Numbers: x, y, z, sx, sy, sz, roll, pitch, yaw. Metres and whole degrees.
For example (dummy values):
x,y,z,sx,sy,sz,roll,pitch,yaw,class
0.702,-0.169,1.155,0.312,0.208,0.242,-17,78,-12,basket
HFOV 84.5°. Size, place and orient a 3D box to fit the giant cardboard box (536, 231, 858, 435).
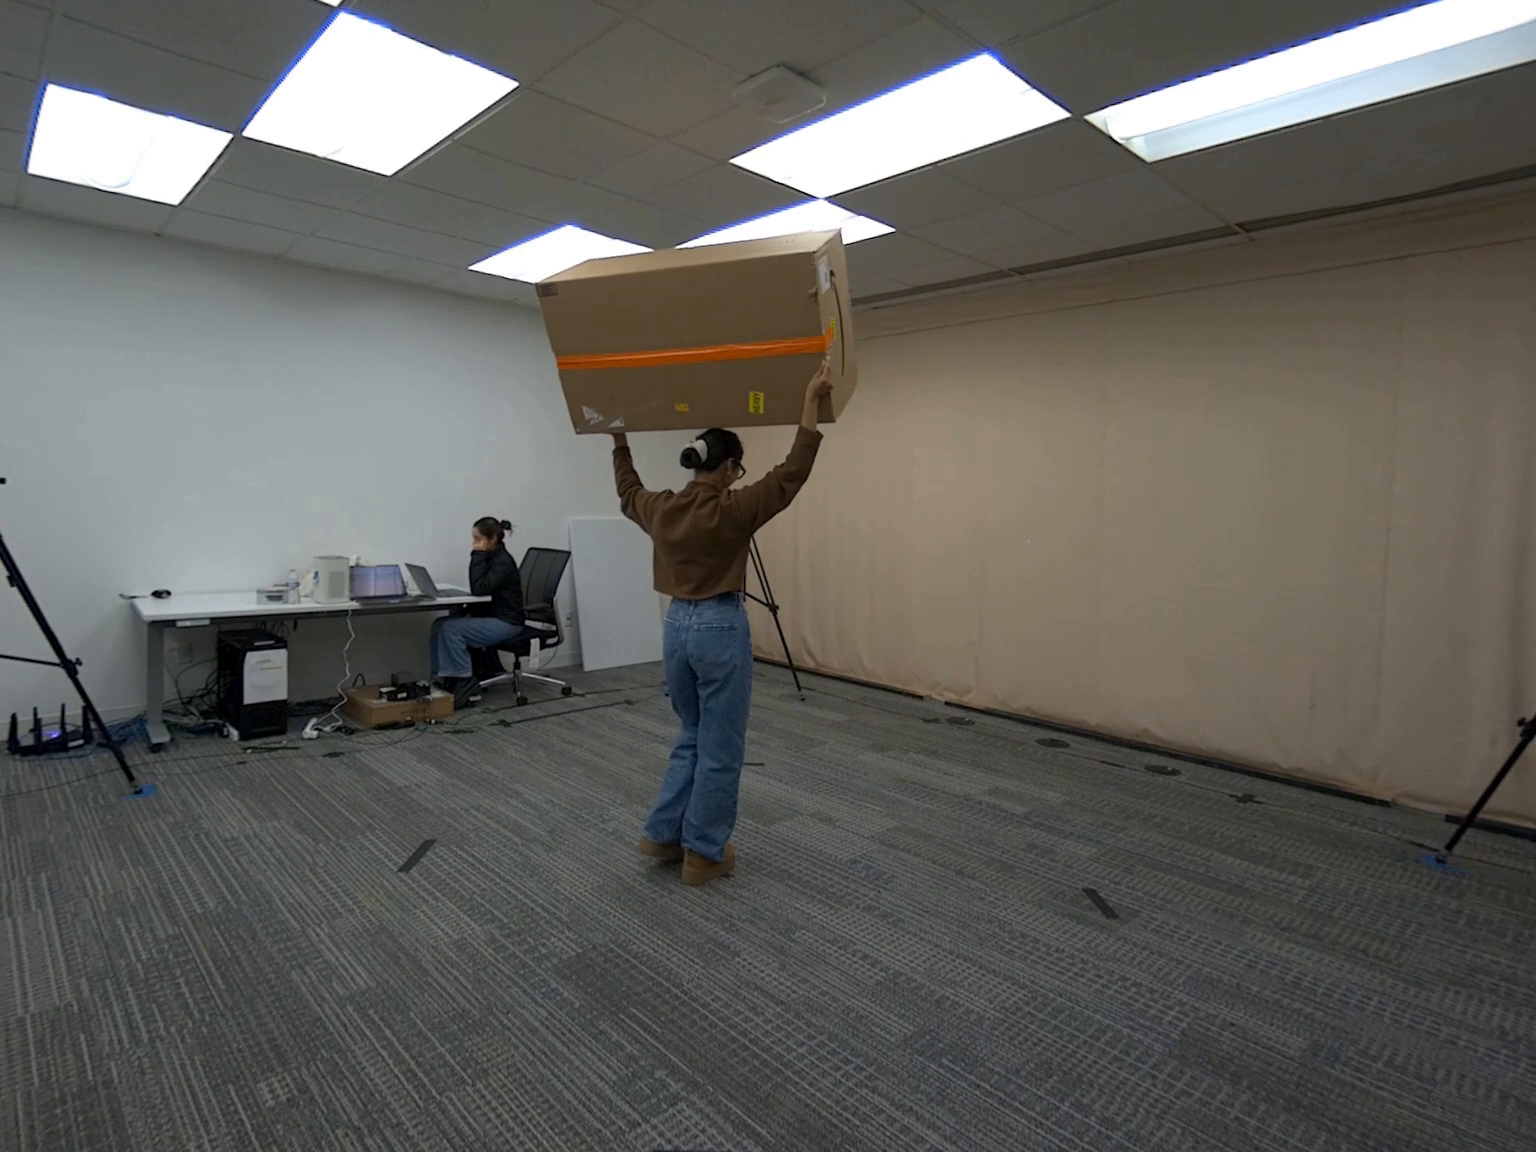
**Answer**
x,y,z,sx,sy,sz,roll,pitch,yaw,class
-0.243,-0.879,3.086,1.042,0.565,0.428,2,31,21,giant cardboard box
